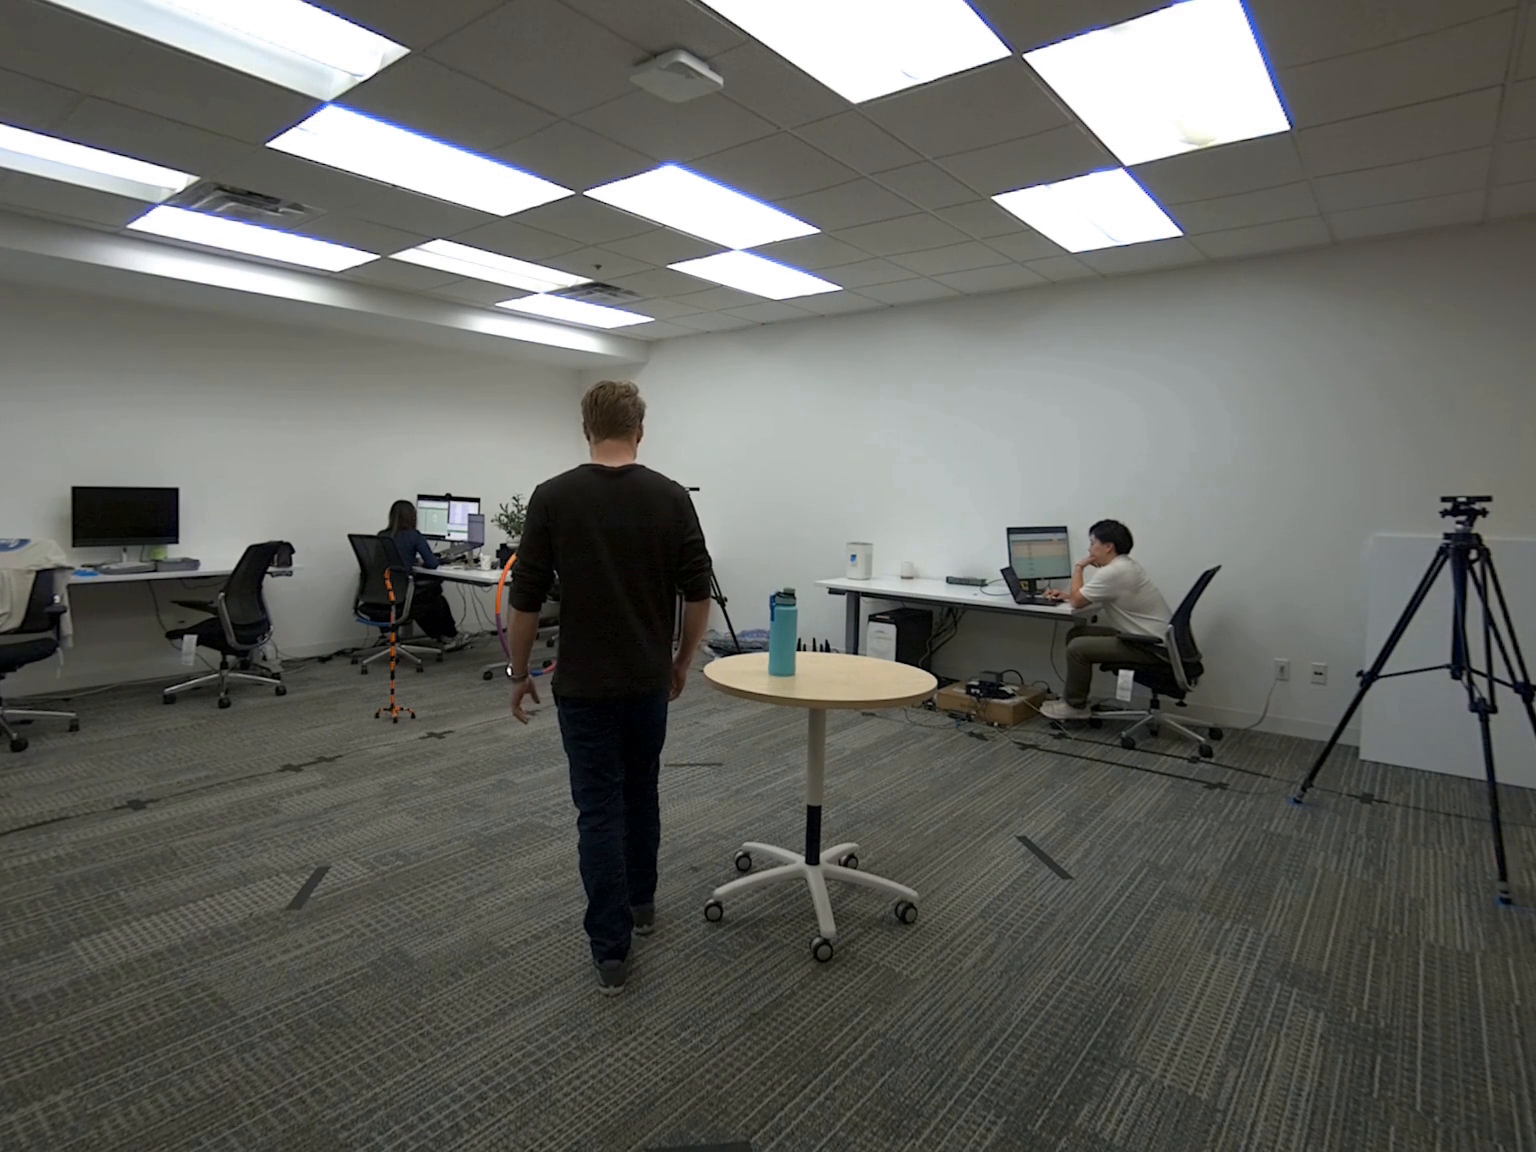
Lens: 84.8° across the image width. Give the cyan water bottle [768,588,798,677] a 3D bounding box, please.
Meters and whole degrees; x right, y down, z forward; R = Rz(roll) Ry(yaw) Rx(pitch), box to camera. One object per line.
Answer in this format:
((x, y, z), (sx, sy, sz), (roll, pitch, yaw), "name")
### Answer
((0.043, 0.180, 2.789), (0.092, 0.282, 0.093), (0, 4, -2), "cyan water bottle")
